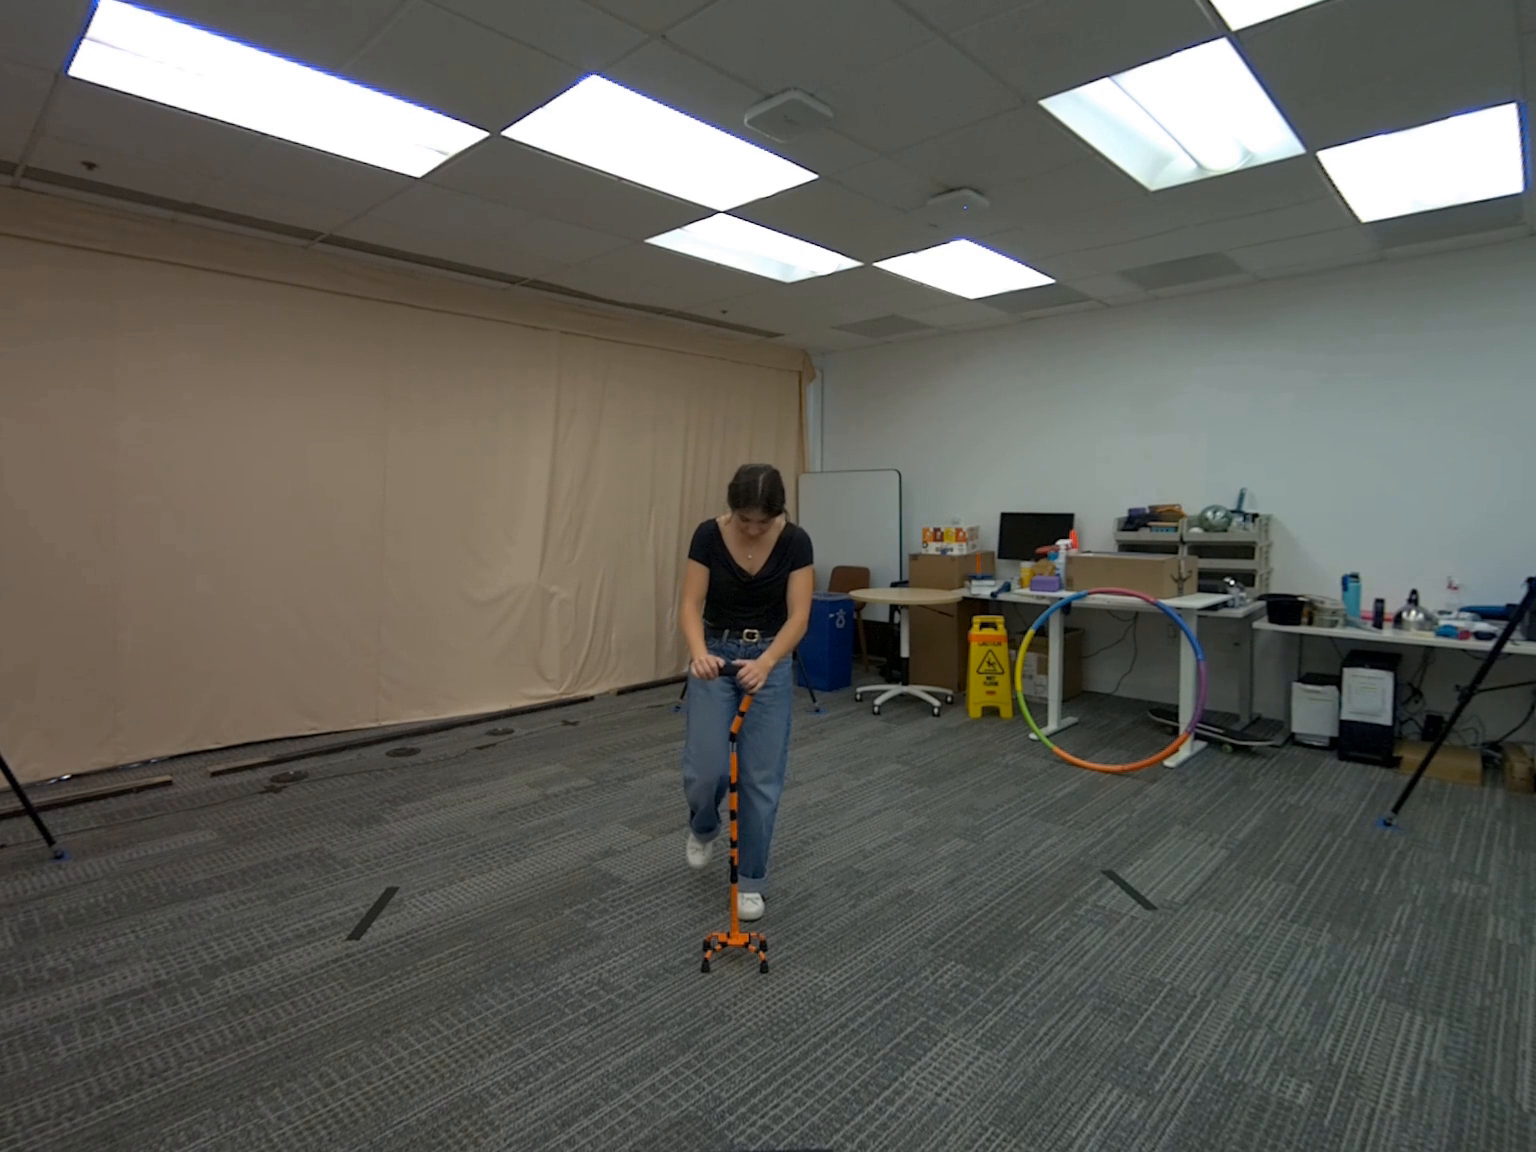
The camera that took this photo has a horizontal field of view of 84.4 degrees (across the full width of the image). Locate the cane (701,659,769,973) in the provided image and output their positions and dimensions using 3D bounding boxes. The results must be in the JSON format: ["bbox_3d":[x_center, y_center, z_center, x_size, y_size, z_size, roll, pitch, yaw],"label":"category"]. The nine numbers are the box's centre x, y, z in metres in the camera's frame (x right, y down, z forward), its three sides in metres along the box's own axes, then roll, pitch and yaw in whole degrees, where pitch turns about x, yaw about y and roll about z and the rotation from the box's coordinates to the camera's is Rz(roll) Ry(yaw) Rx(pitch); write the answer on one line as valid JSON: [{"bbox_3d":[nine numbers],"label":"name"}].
[{"bbox_3d":[-0.100,0.720,2.556,0.206,0.906,0.152,0,3,0],"label":"cane"}]
